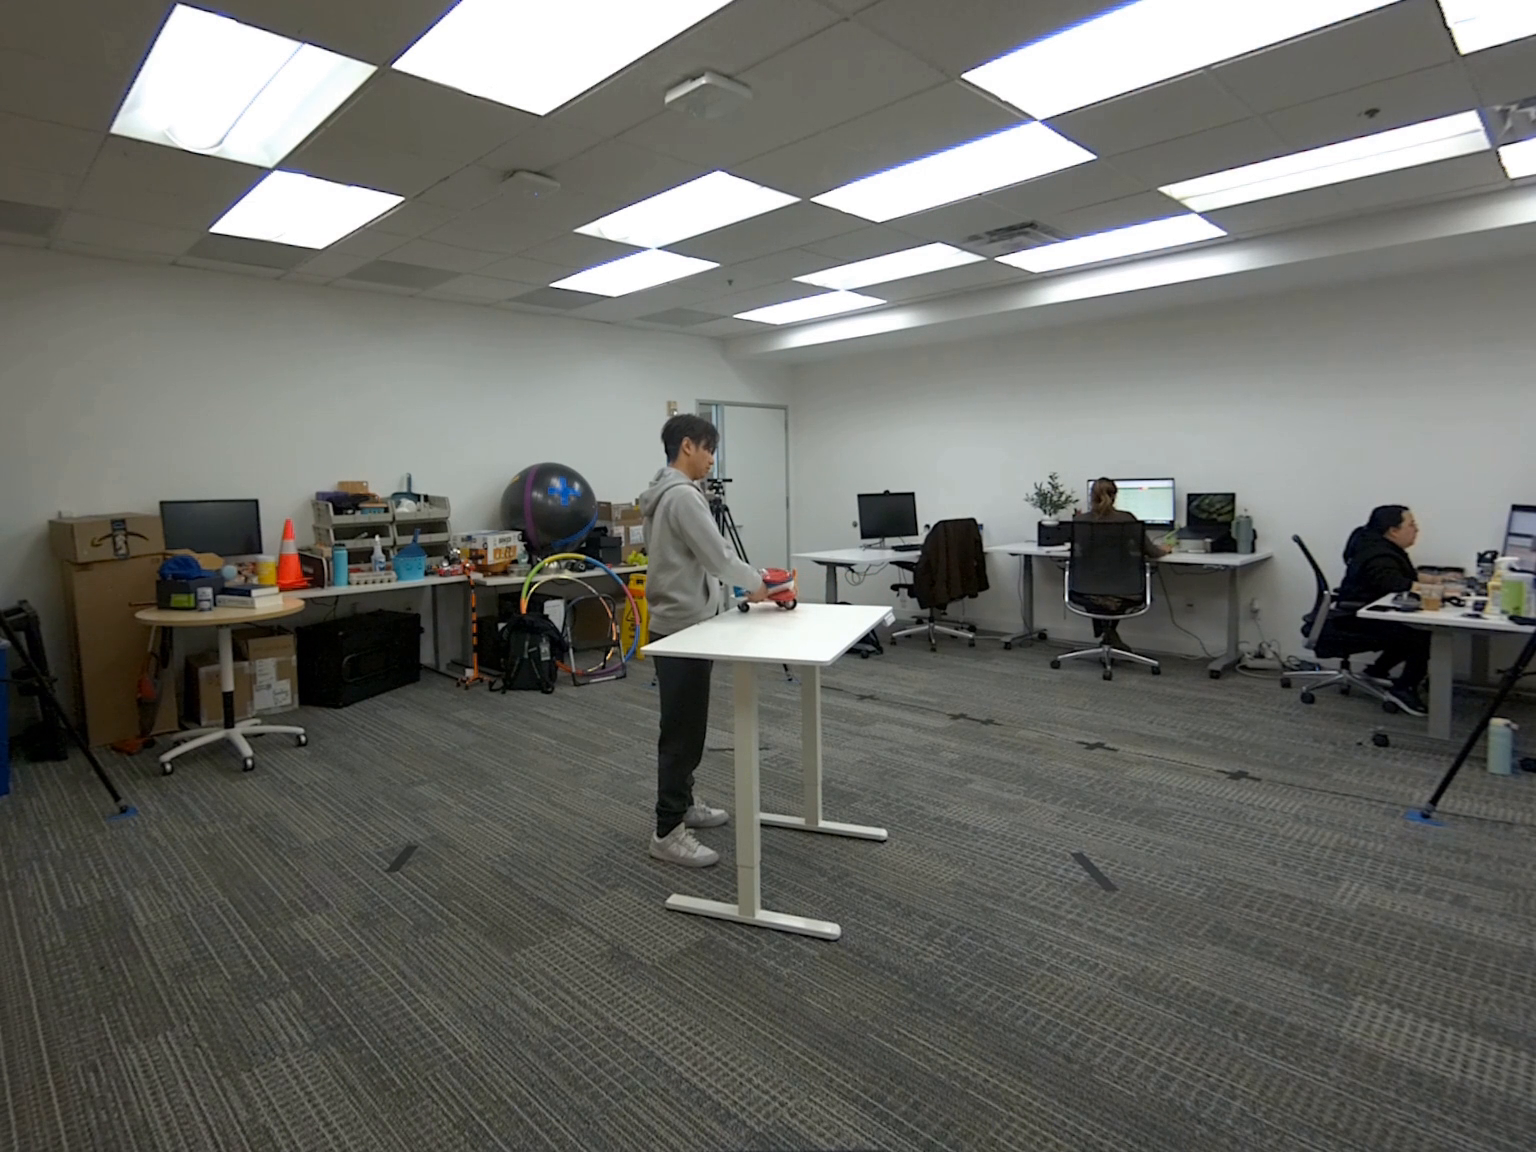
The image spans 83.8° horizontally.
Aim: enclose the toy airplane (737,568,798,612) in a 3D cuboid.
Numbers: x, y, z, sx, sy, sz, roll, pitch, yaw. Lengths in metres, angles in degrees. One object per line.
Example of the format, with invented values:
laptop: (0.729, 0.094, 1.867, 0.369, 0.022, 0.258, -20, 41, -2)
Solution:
toy airplane: (-0.004, 0.056, 3.322, 0.259, 0.156, 0.252, 3, 7, 44)
